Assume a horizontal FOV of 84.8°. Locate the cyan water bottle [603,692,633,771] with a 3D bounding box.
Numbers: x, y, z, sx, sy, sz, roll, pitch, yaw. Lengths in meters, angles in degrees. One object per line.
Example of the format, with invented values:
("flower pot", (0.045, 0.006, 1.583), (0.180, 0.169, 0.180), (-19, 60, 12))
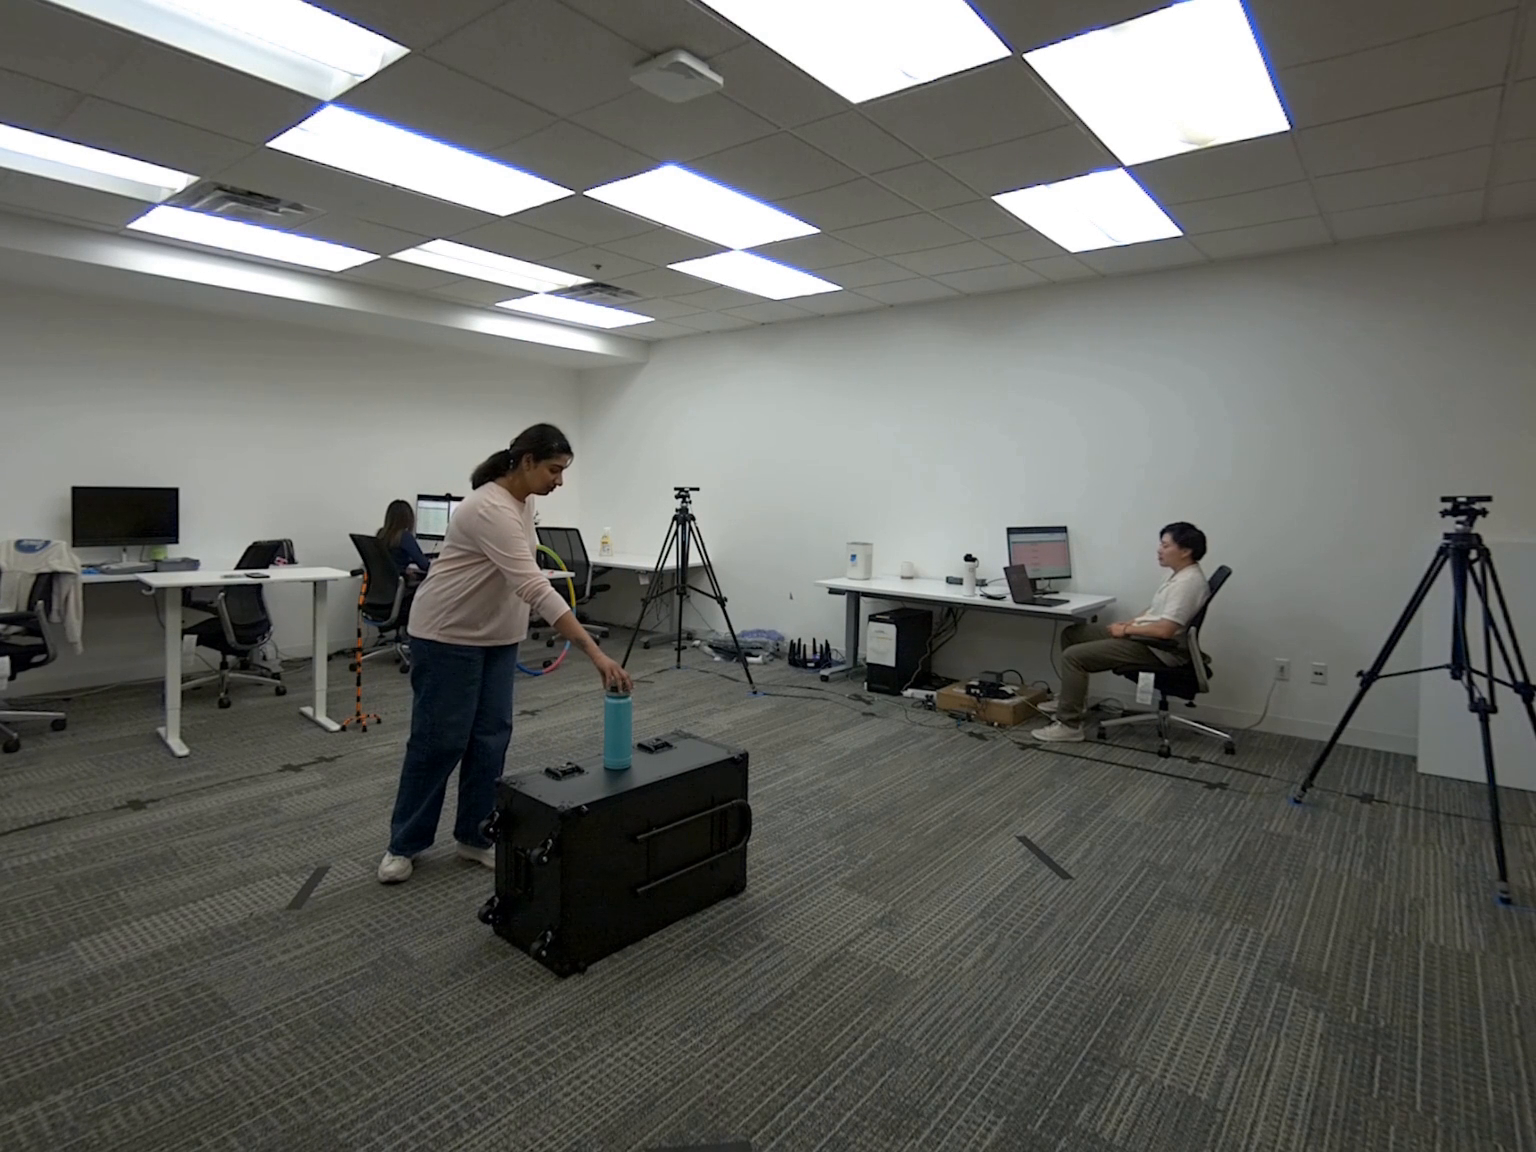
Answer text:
("cyan water bottle", (-0.503, 0.478, 2.763), (0.092, 0.282, 0.093), (0, 4, -2))
